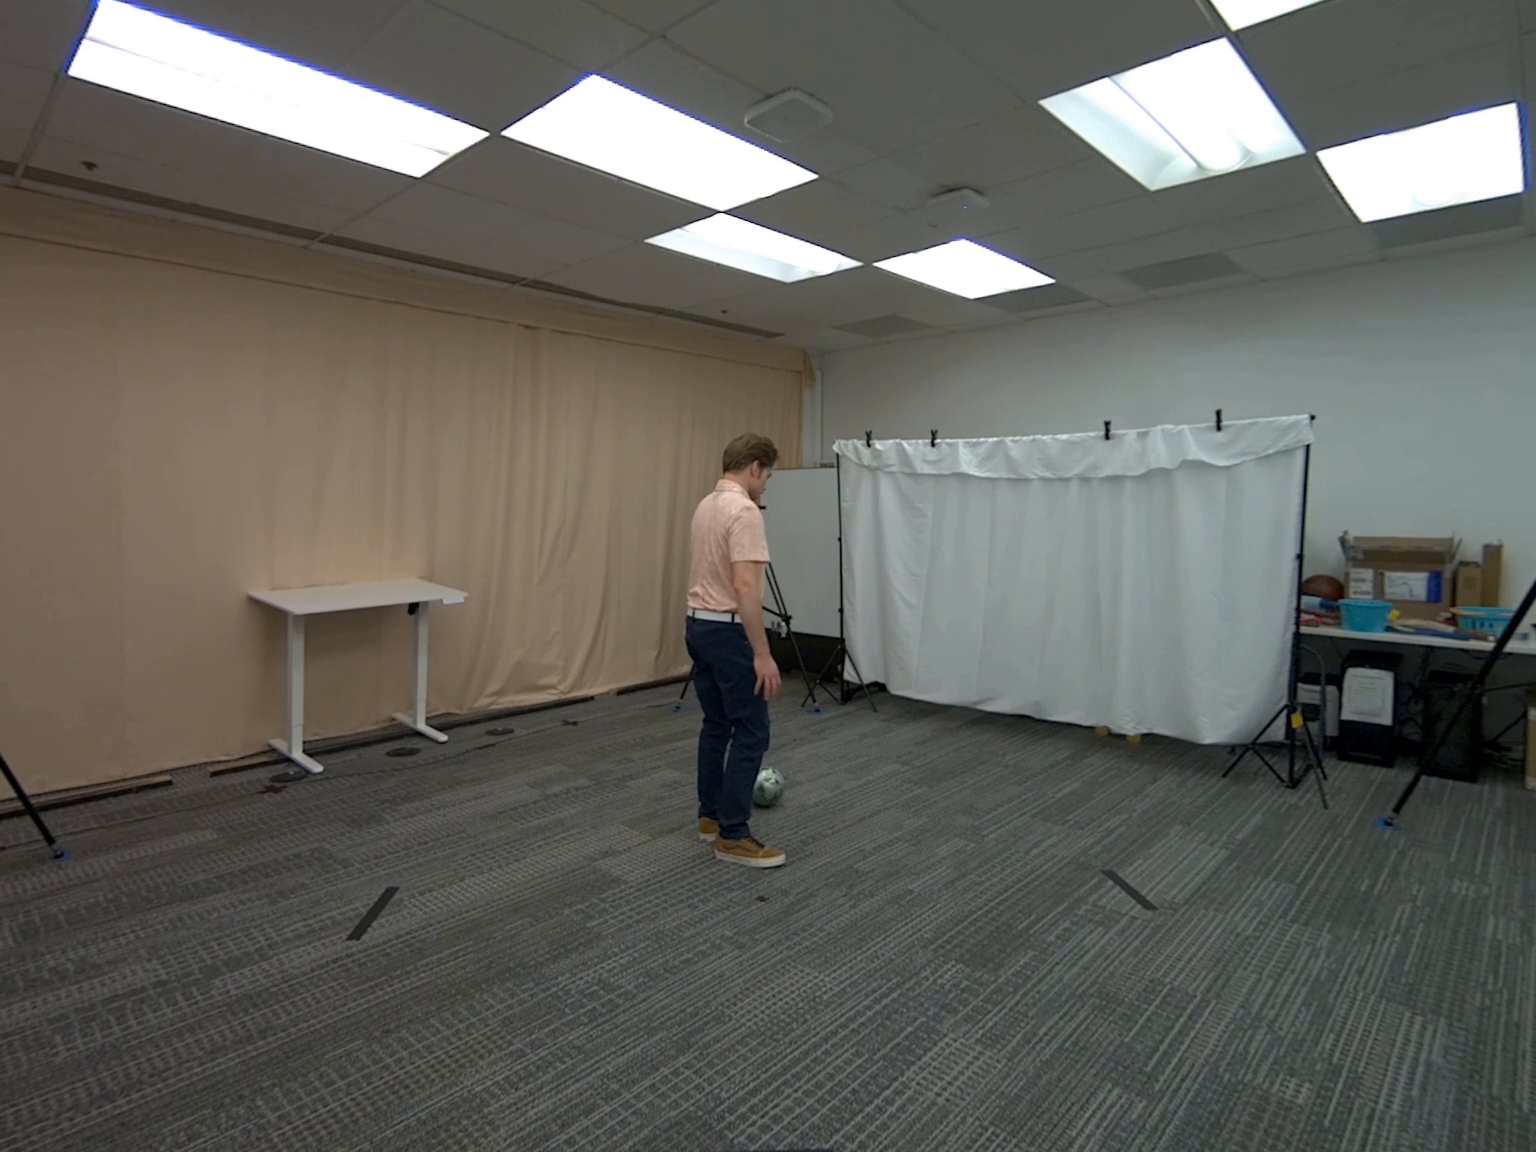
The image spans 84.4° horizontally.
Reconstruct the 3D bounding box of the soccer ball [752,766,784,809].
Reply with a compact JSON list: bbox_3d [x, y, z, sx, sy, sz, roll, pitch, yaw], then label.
[{"bbox_3d":[-0.016,0.979,3.921,0.187,0.187,0.188,0,4,-2],"label":"soccer ball"}]
